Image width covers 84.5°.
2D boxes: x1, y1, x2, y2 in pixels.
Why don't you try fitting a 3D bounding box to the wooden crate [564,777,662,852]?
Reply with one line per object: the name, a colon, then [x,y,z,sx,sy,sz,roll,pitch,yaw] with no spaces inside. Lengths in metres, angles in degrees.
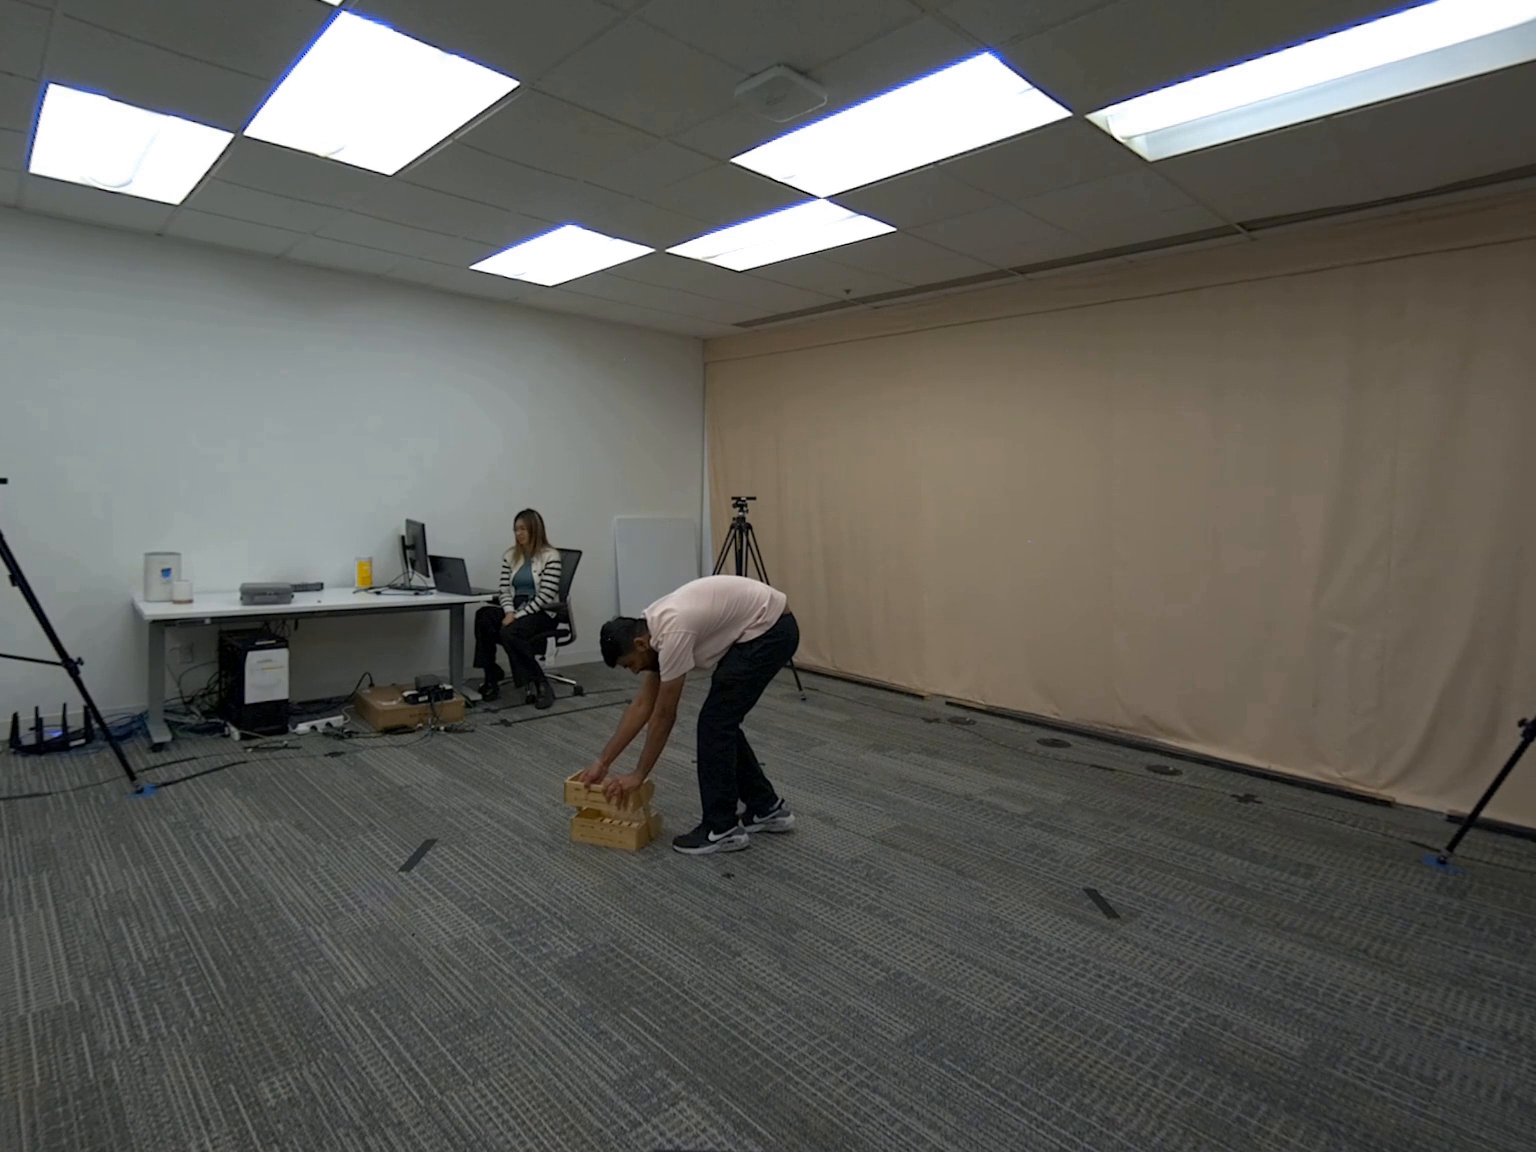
wooden crate: [-0.629,0.928,3.429,0.329,0.272,0.299,2,6,17]
